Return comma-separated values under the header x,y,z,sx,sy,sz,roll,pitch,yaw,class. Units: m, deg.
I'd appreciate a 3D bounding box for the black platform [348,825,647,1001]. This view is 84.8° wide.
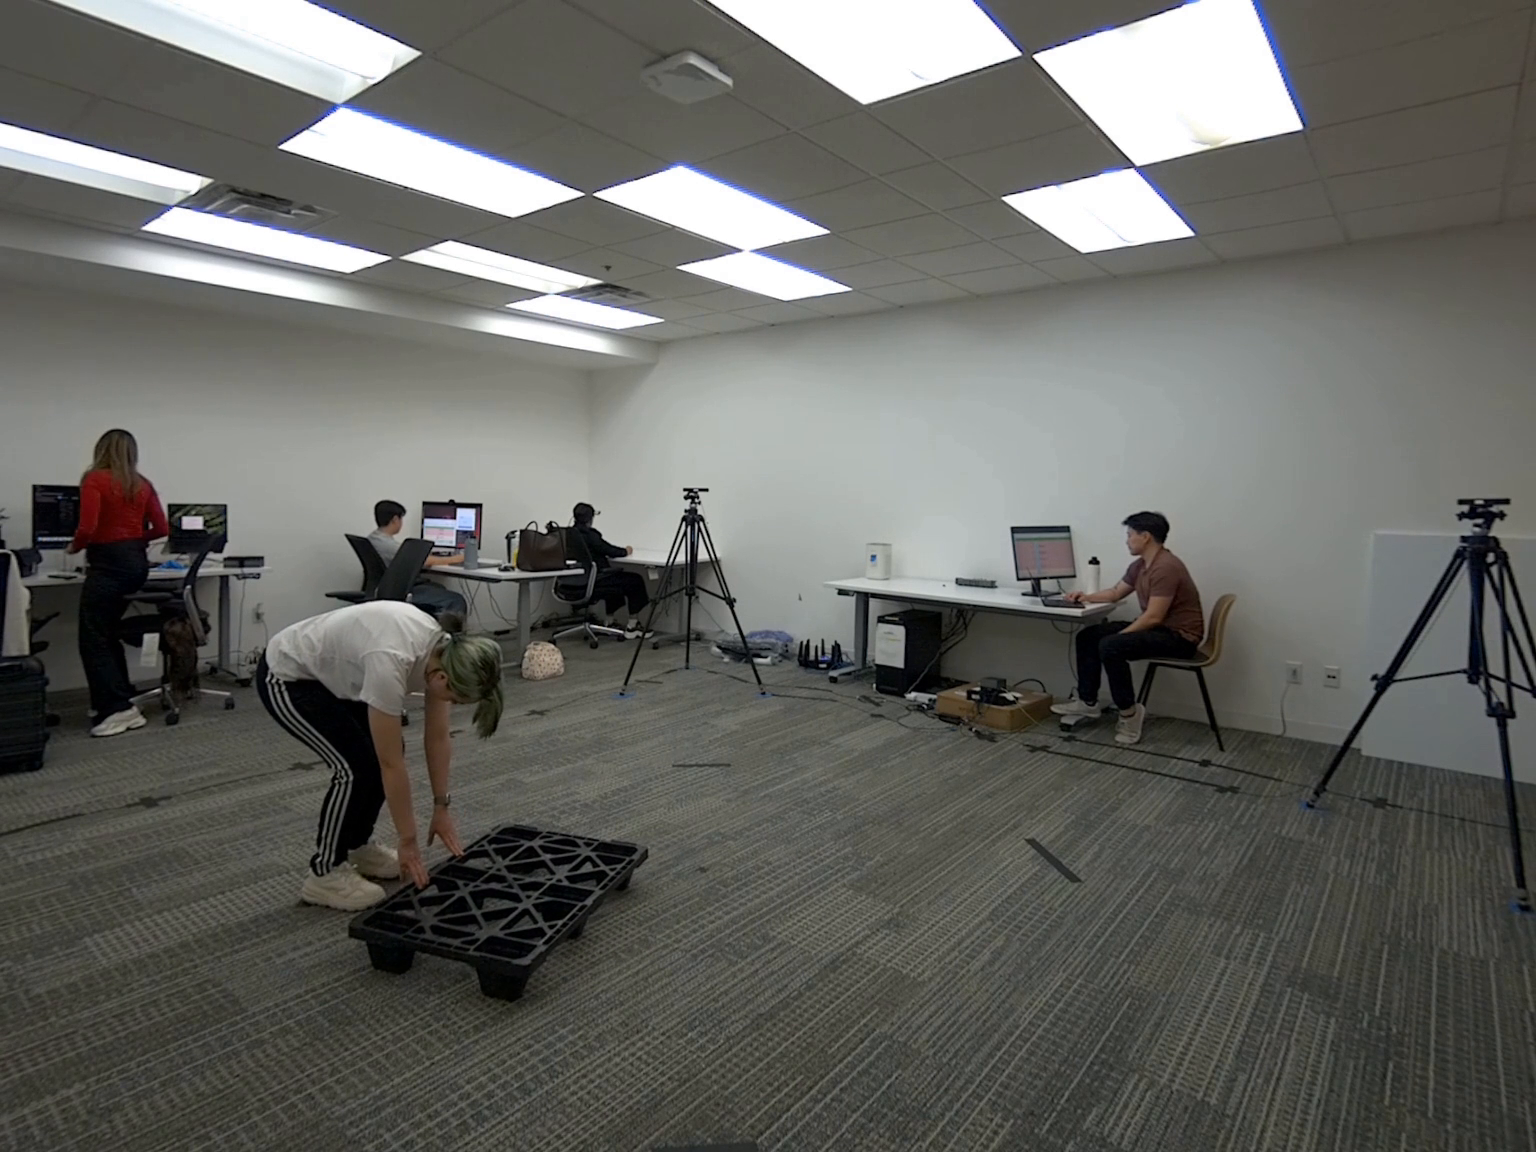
x,y,z,sx,sy,sz,roll,pitch,yaw,class
-0.823,1.032,2.698,0.617,0.143,0.793,2,6,17,black platform
